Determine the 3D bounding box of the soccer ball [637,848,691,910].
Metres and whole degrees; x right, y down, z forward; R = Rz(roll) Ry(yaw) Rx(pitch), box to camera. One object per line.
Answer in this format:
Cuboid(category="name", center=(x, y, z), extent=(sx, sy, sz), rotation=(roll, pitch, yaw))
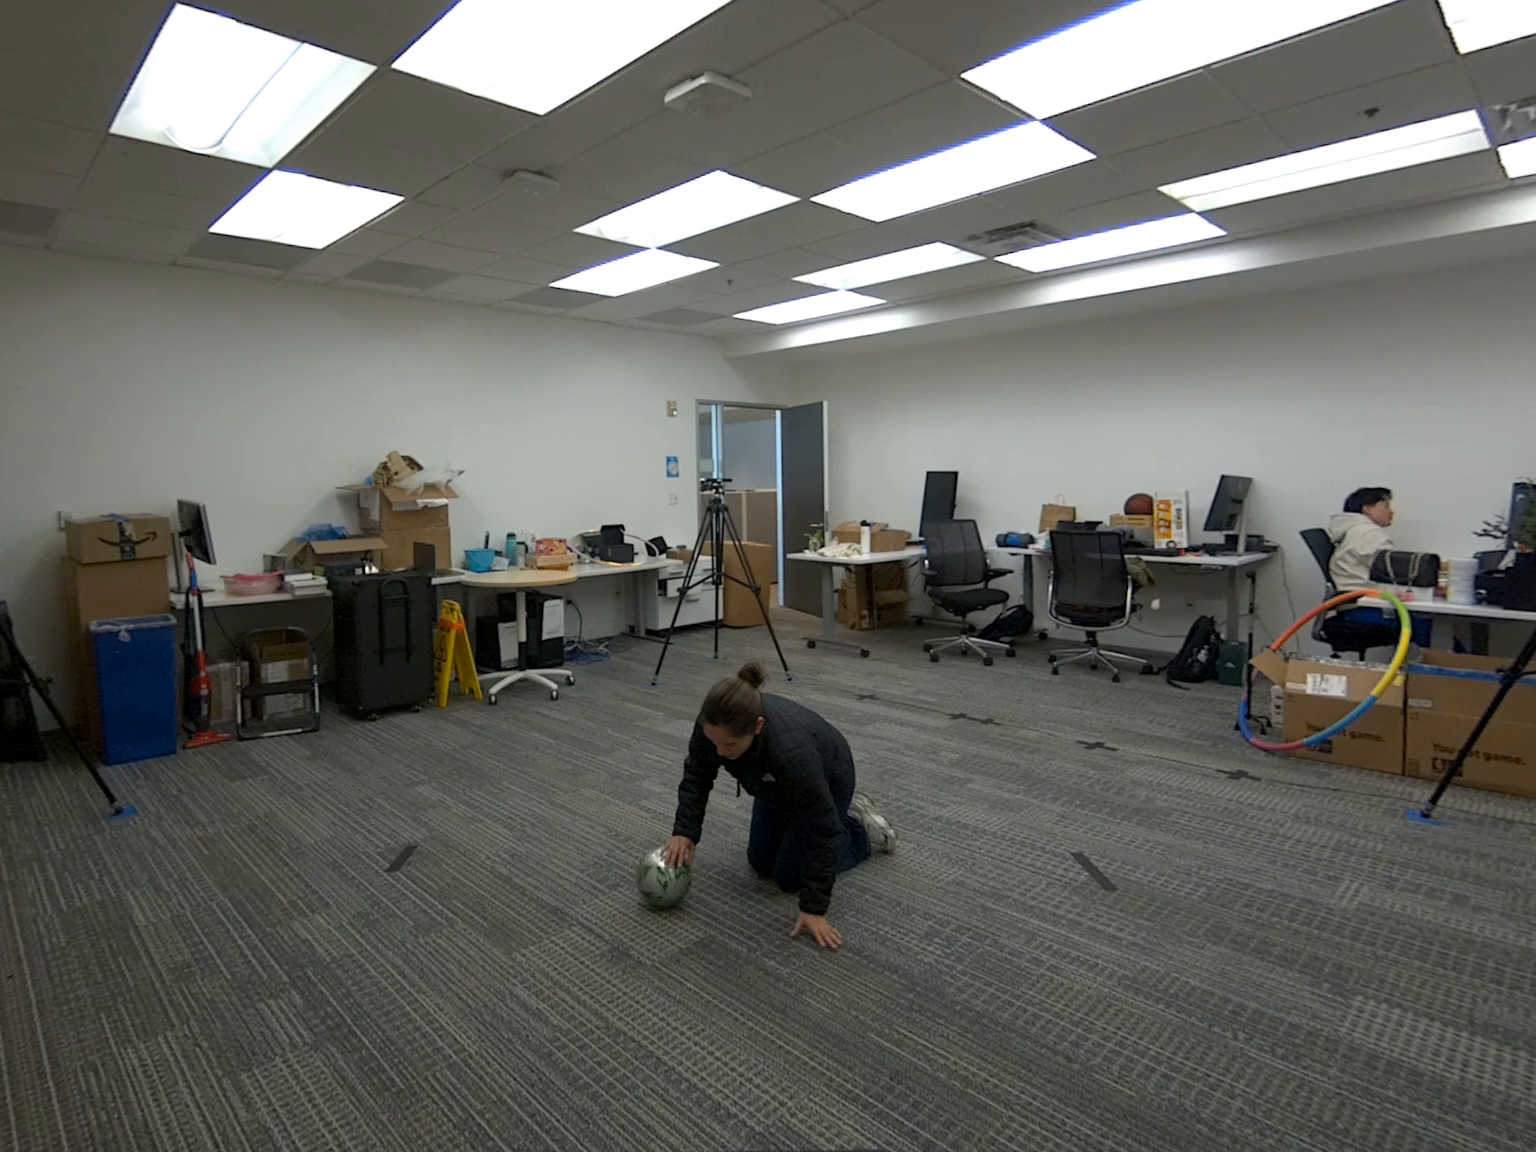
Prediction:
Cuboid(category="soccer ball", center=(-0.338, 0.987, 2.817), extent=(0.187, 0.187, 0.188), rotation=(-1, 5, -2))
